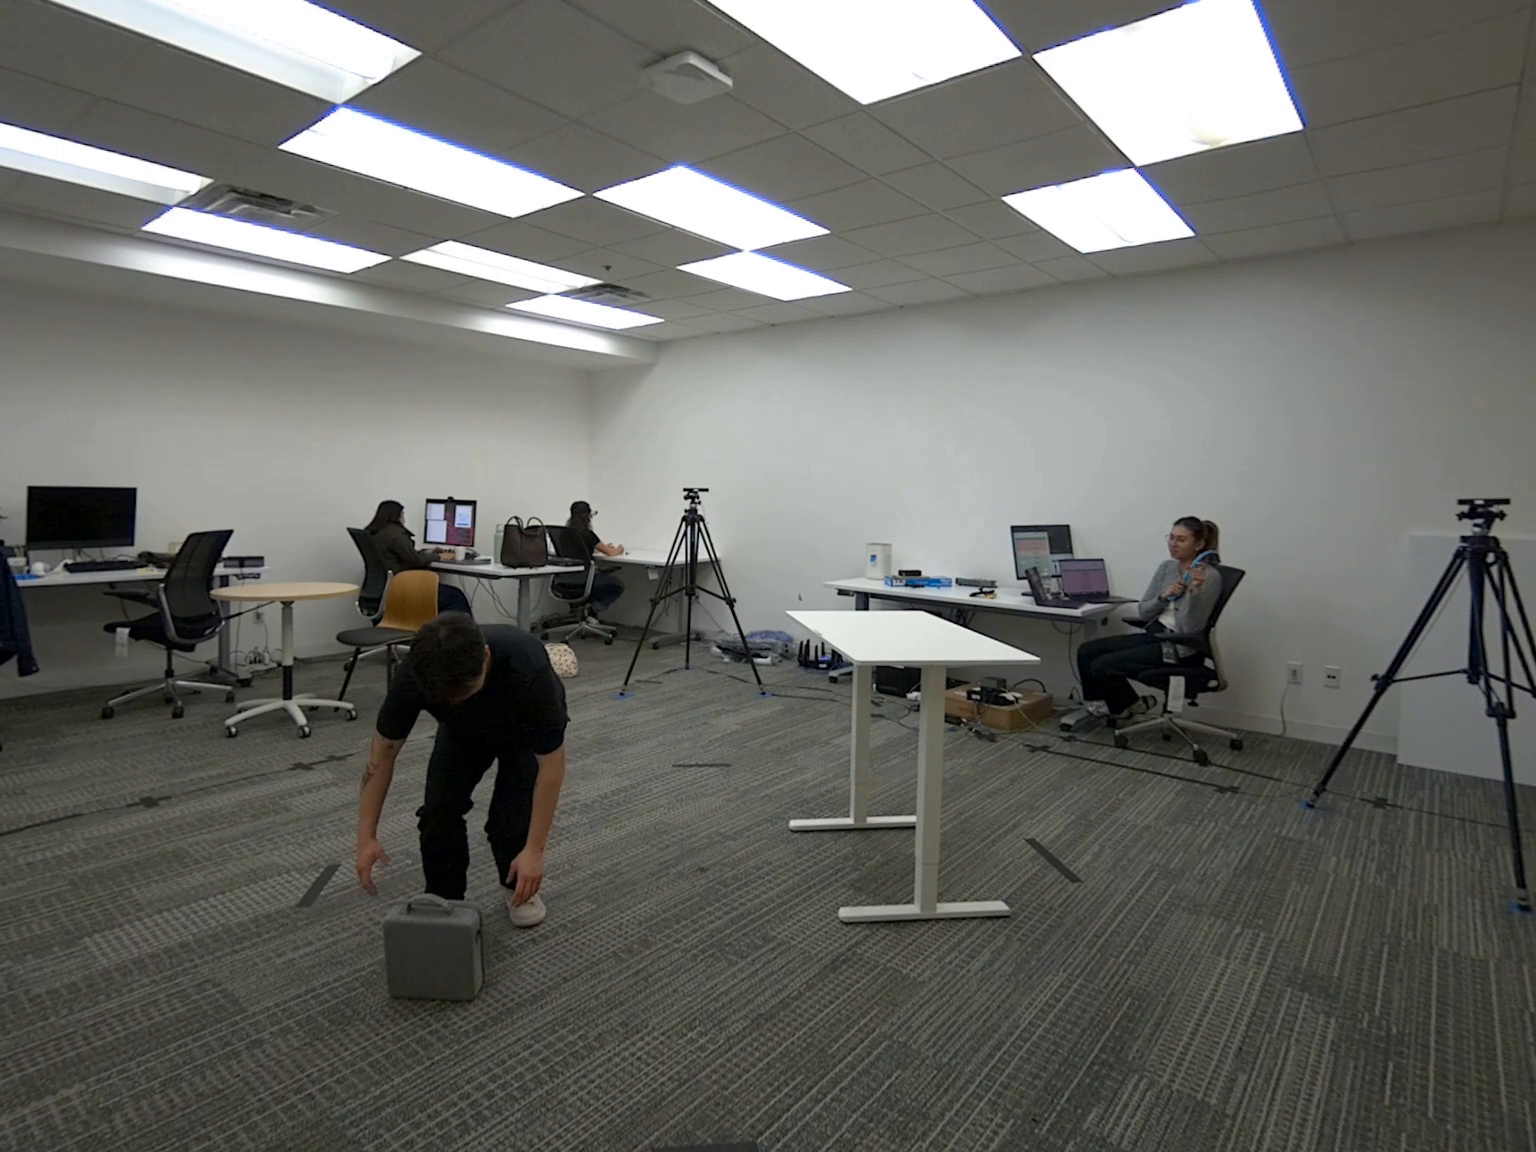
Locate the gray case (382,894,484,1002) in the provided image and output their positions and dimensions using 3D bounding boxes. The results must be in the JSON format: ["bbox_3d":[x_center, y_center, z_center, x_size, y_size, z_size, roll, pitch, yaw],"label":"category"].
[{"bbox_3d":[-0.914,1.008,2.303,0.258,0.258,0.105,0,12,3],"label":"gray case"}]
